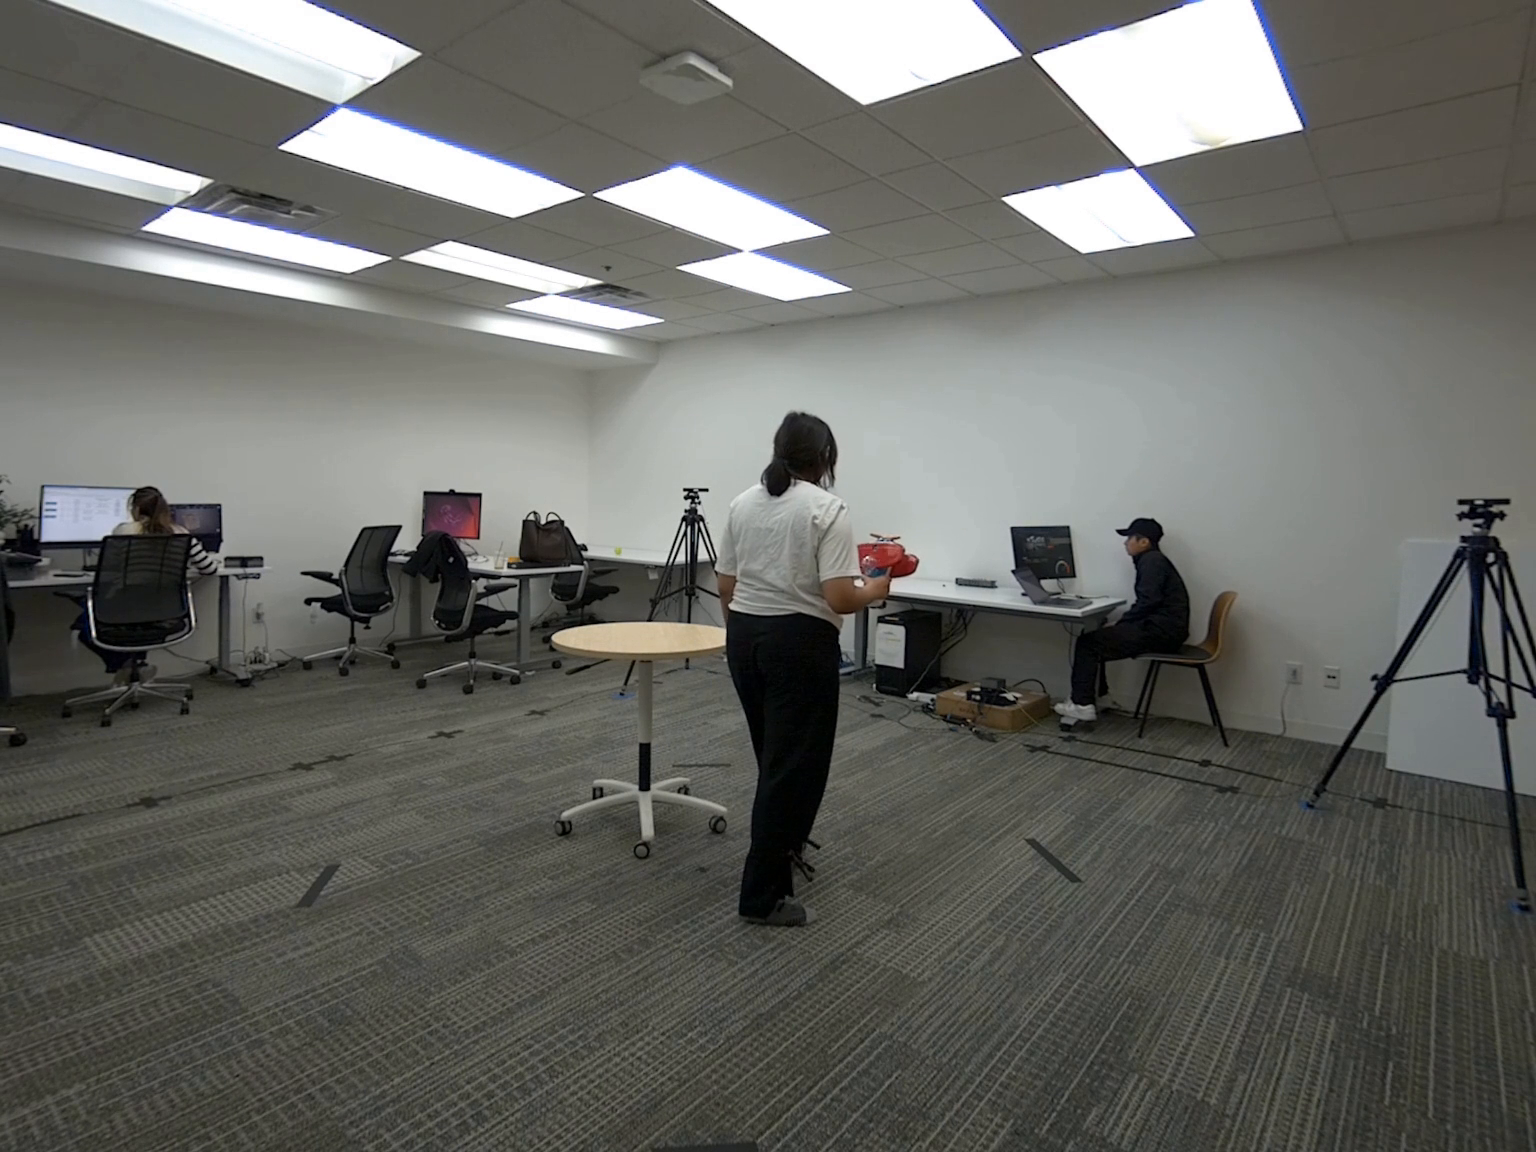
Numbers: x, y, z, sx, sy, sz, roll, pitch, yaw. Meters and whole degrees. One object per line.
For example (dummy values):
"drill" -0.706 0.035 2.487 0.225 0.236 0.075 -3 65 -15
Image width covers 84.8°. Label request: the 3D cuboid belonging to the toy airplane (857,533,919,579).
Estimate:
"toy airplane" 0.393 -0.018 2.928 0.255 0.151 0.265 -23 34 28
